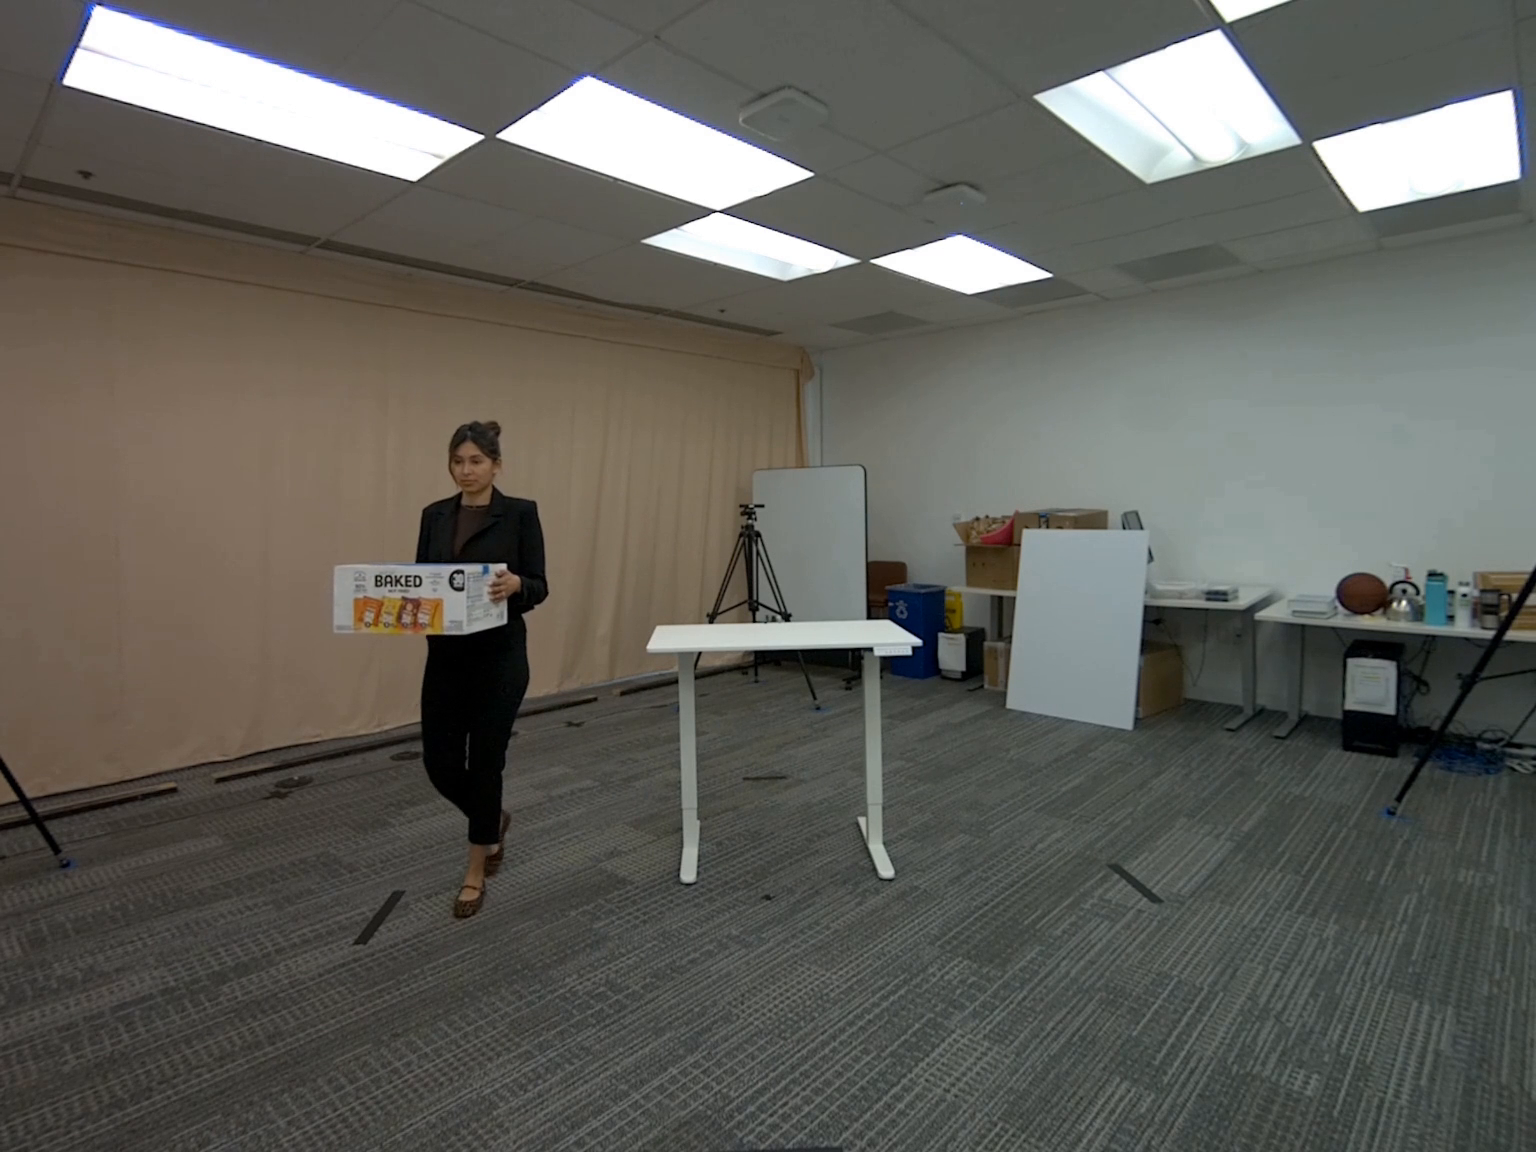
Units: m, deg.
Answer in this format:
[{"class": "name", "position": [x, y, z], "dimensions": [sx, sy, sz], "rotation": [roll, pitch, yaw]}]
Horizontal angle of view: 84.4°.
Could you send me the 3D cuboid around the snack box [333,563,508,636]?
[{"class": "snack box", "position": [-1.063, 0.068, 2.627], "dimensions": [0.407, 0.205, 0.339], "rotation": [1, 2, 4]}]
